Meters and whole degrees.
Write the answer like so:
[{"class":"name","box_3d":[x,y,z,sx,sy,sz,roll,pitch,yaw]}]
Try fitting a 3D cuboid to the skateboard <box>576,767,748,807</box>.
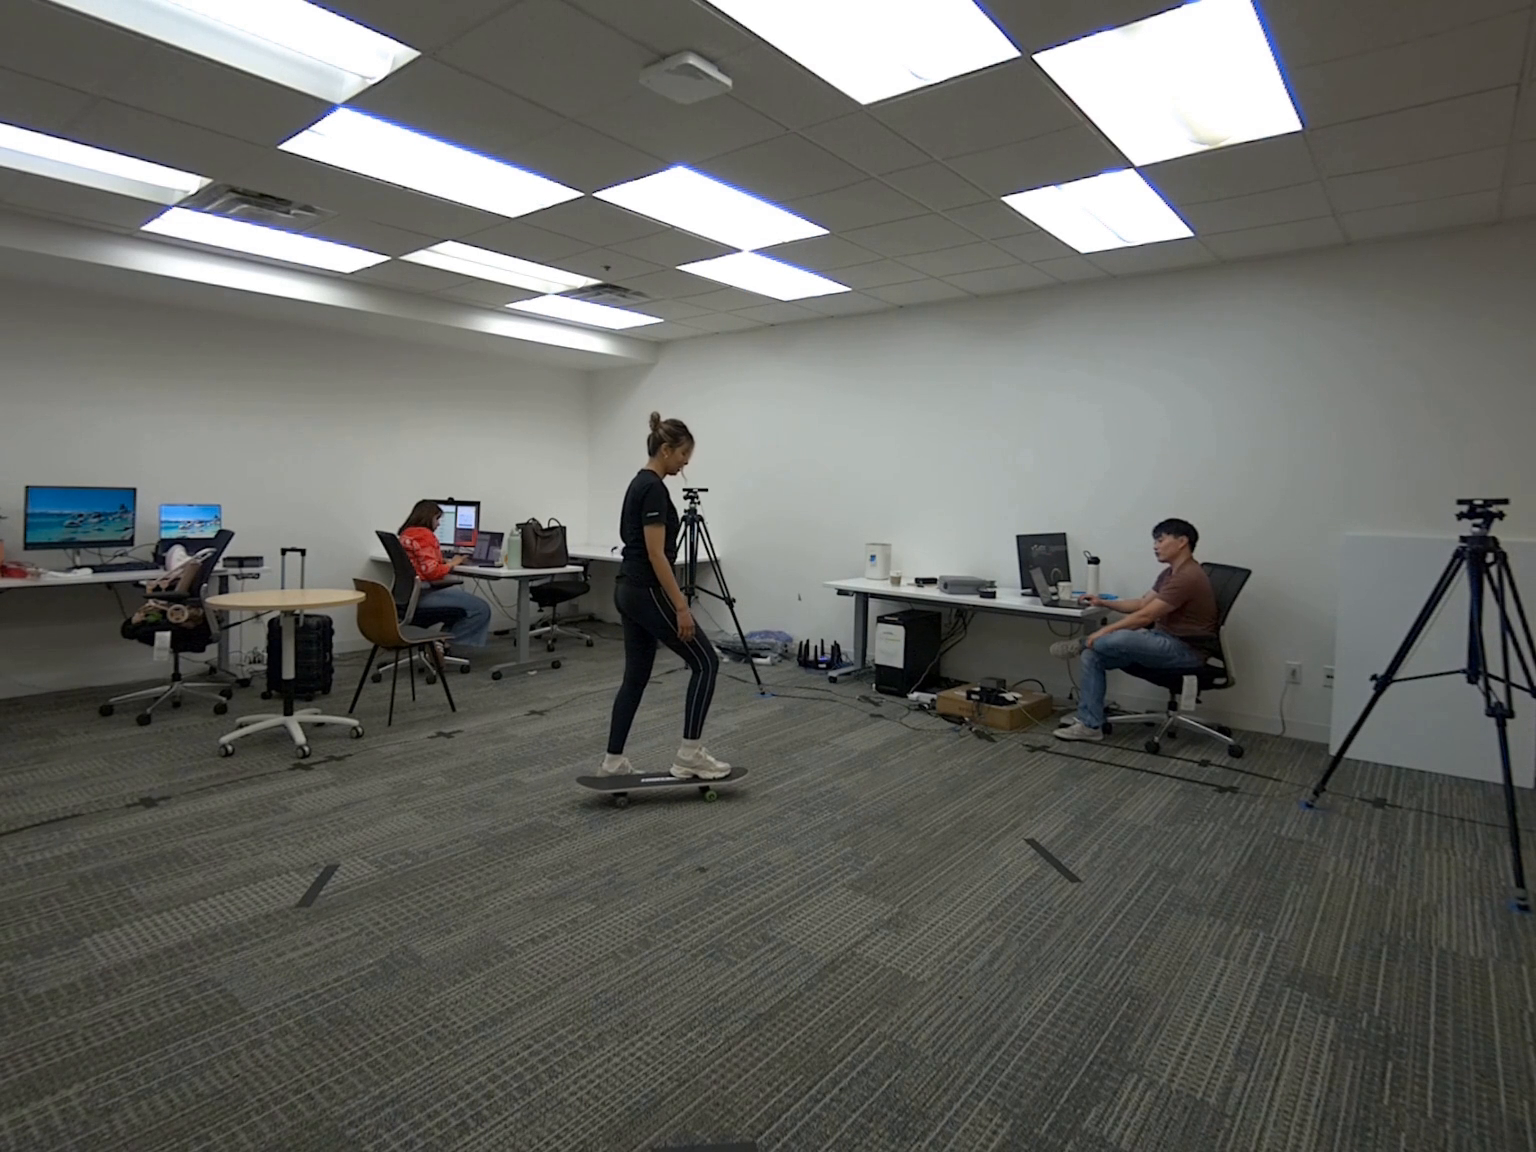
[{"class":"skateboard","box_3d":[-0.483,0.941,3.816,0.774,0.110,0.197,0,4,-13]}]
